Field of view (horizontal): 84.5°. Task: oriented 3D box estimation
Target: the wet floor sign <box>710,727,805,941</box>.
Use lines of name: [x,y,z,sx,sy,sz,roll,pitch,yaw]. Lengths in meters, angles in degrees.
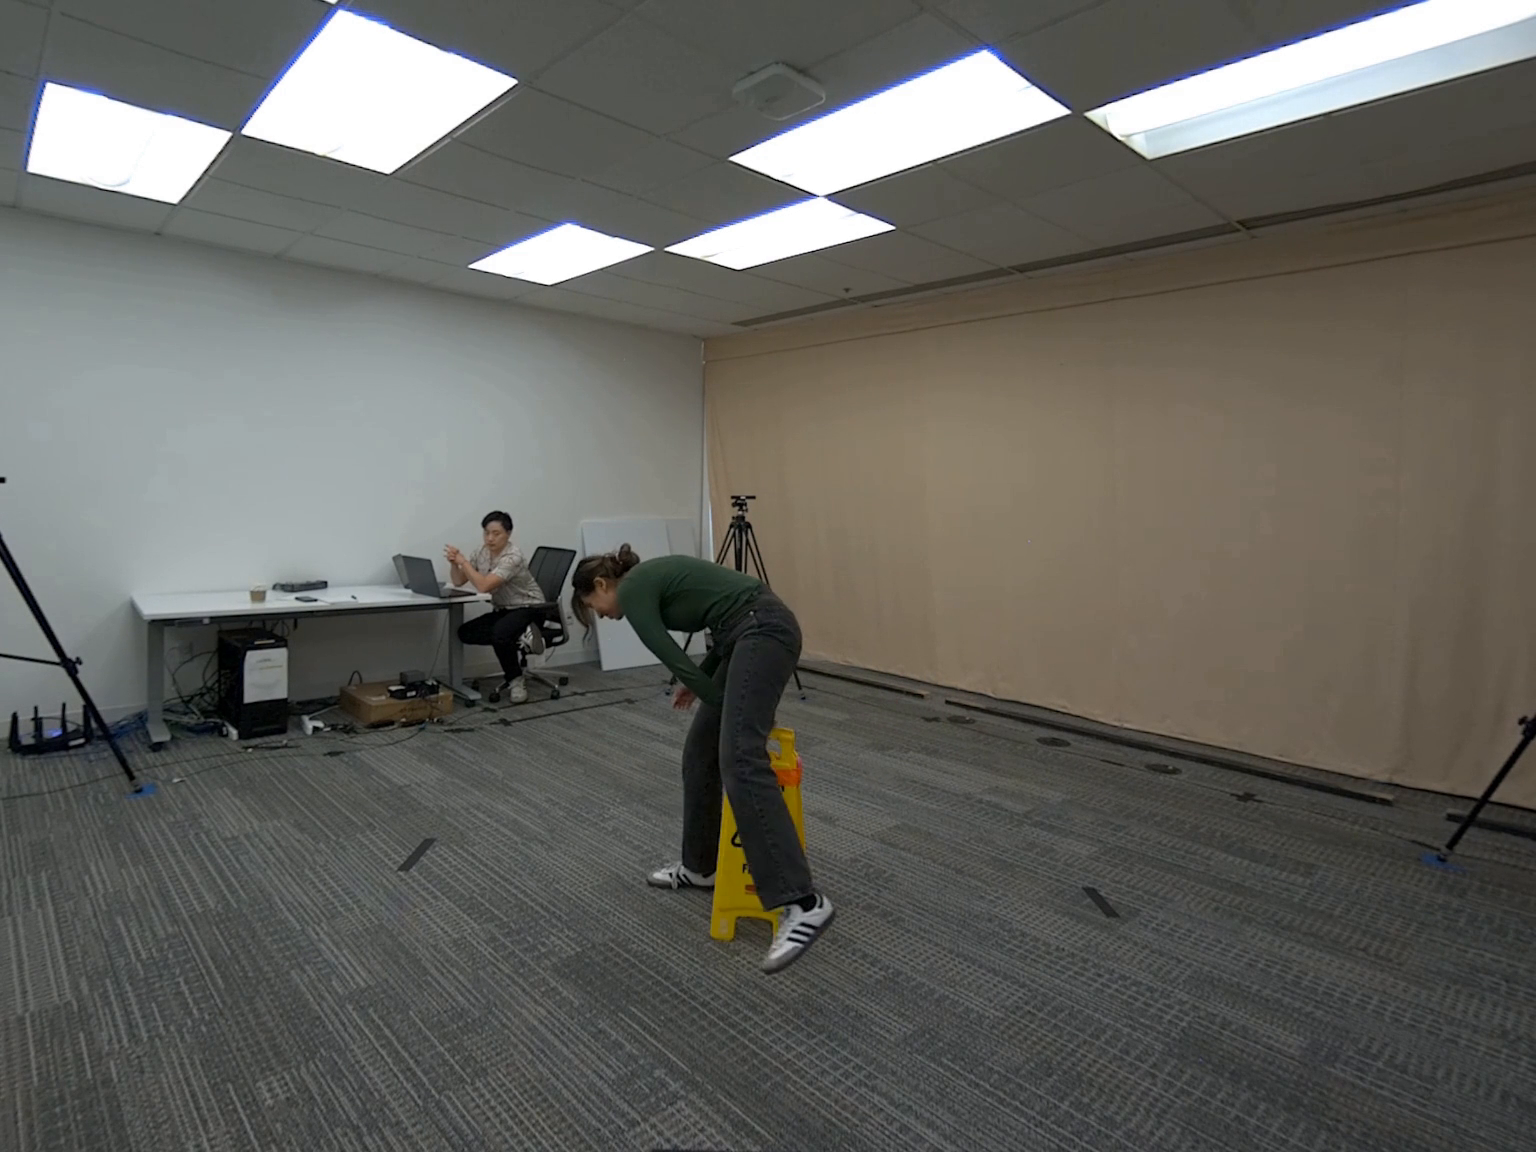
wet floor sign: [-0.018,0.818,2.750,0.285,0.644,0.287,2,3,12]
